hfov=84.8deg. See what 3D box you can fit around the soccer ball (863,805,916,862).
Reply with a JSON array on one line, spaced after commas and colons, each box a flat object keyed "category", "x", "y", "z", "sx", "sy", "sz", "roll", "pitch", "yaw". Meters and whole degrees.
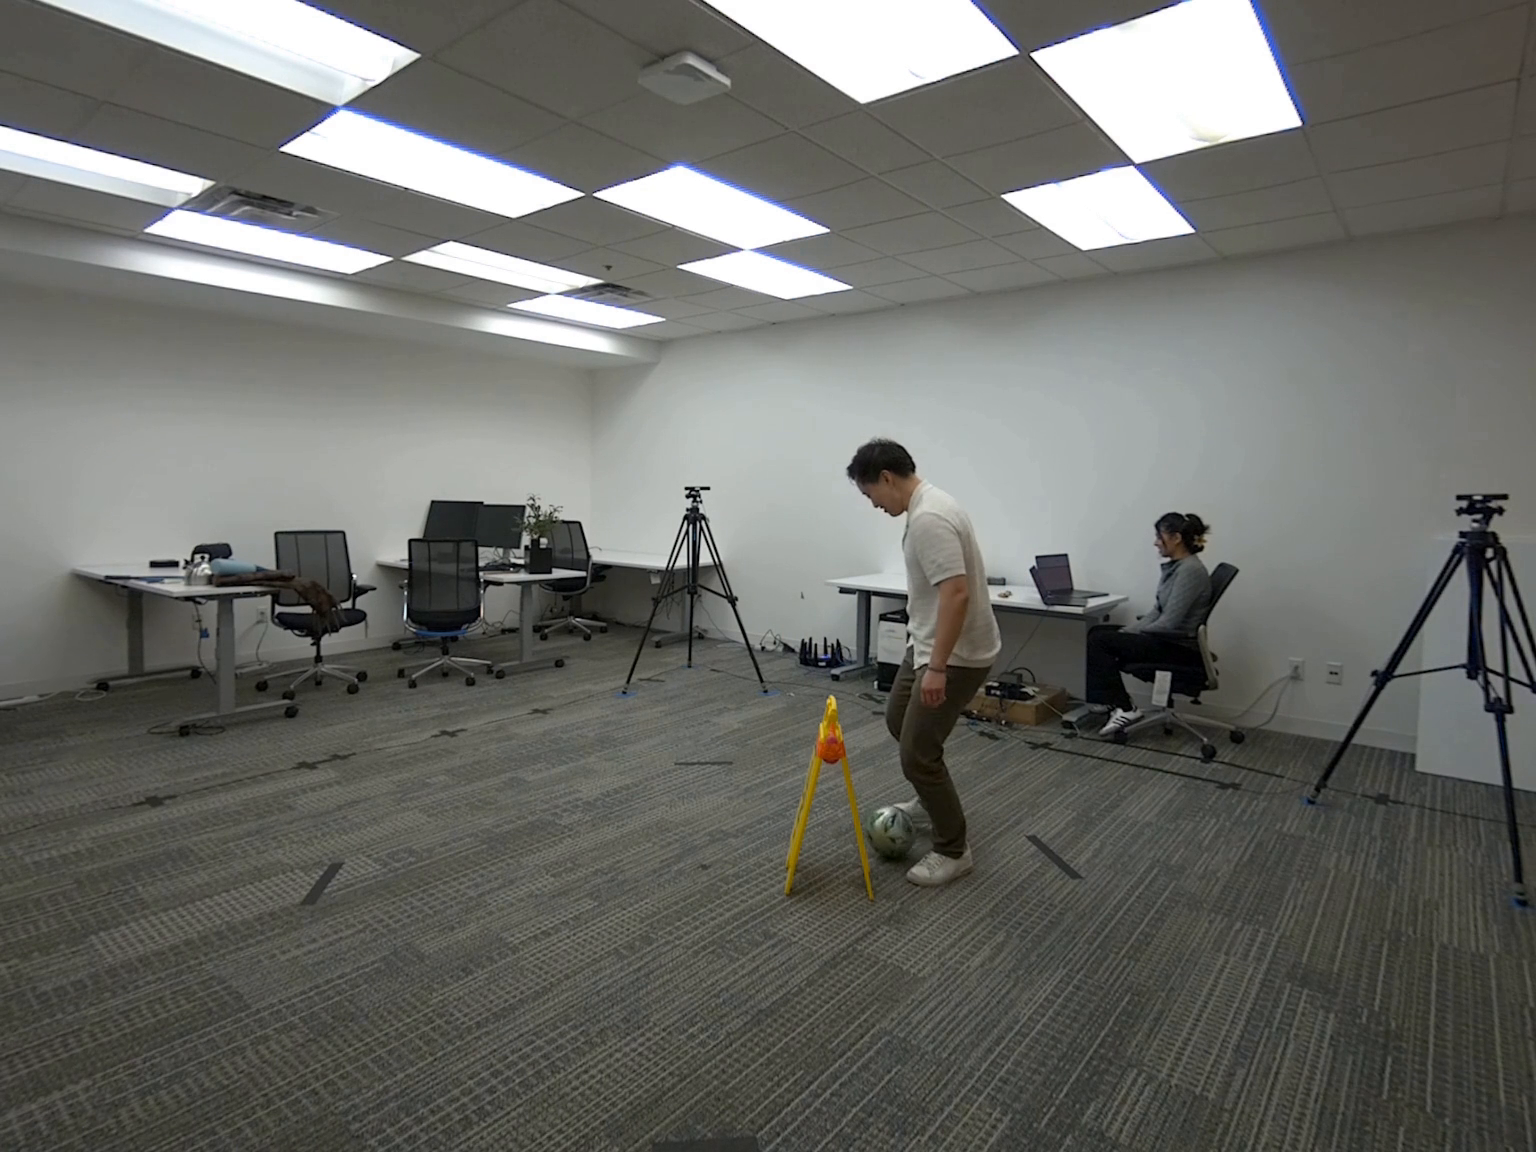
[{"category": "soccer ball", "x": 0.464, "y": 0.975, "z": 3.231, "sx": 0.187, "sy": 0.187, "sz": 0.188, "roll": 0, "pitch": 4, "yaw": -2}]
